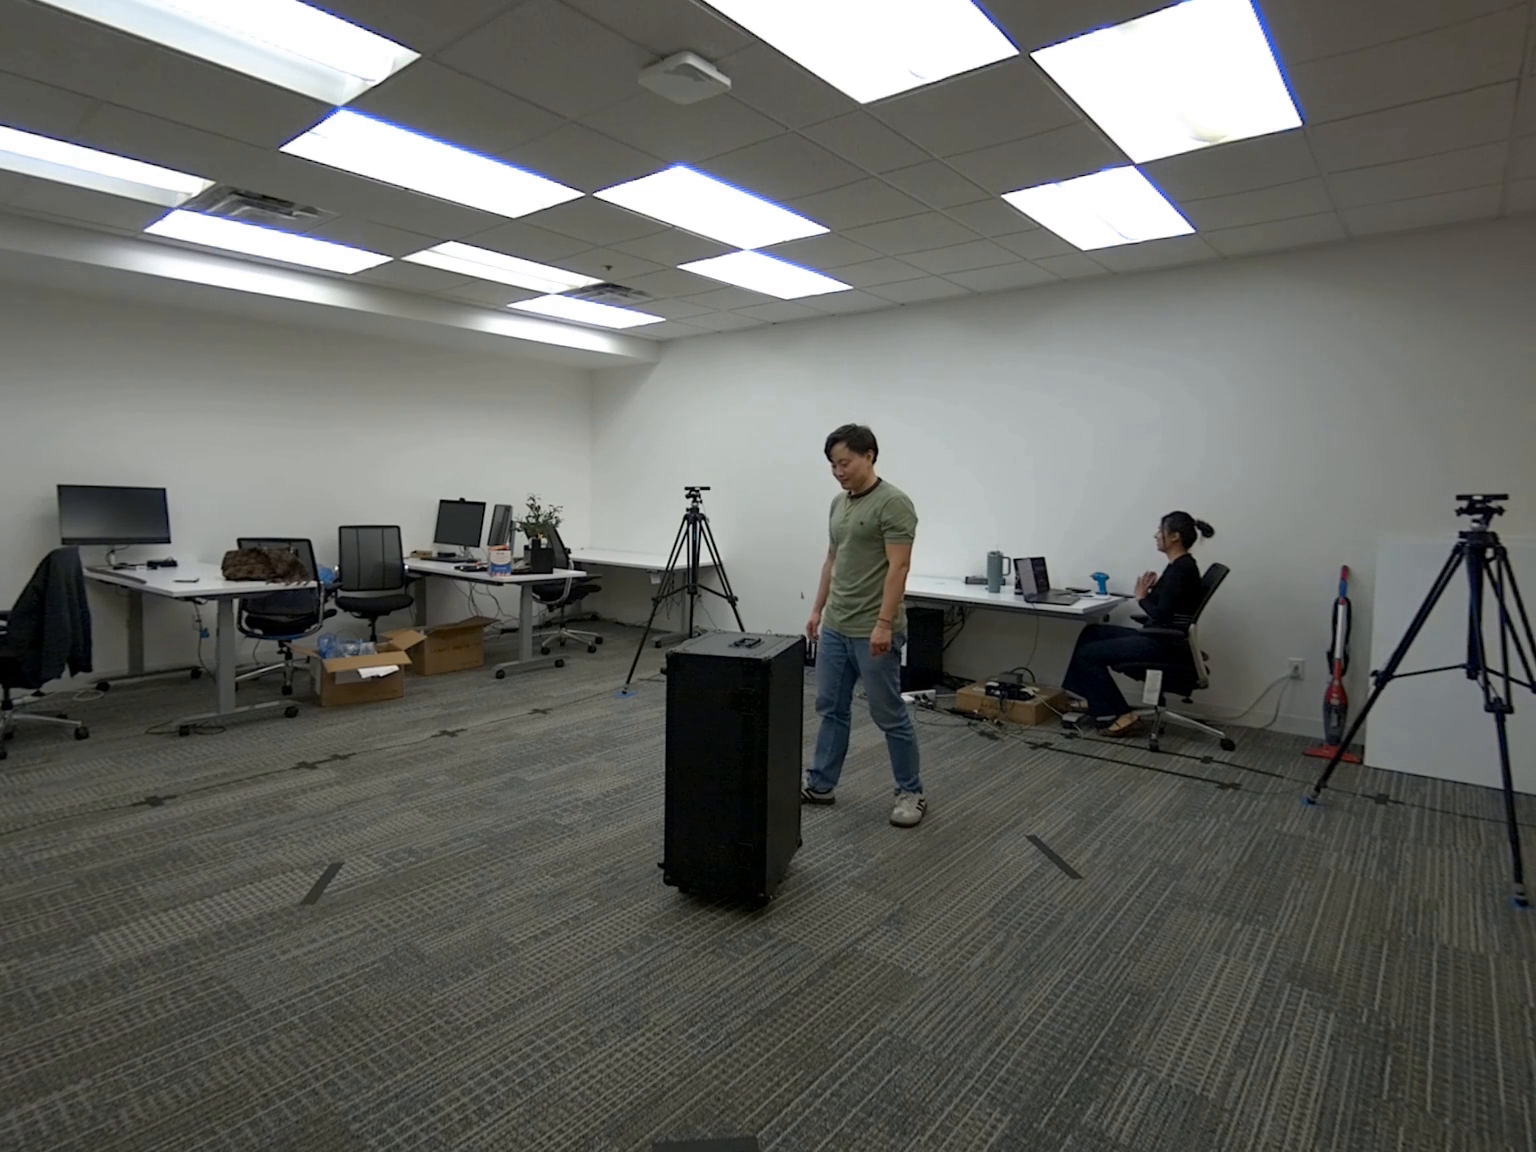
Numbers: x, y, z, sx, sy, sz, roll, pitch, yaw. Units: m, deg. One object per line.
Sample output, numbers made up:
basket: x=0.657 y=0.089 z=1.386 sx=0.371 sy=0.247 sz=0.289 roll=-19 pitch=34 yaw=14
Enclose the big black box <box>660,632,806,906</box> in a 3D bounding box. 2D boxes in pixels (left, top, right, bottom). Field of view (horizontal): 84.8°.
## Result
big black box: x=-0.128 y=0.653 z=2.967 sx=0.404 sy=0.859 sz=0.512 roll=1 pitch=3 yaw=18
